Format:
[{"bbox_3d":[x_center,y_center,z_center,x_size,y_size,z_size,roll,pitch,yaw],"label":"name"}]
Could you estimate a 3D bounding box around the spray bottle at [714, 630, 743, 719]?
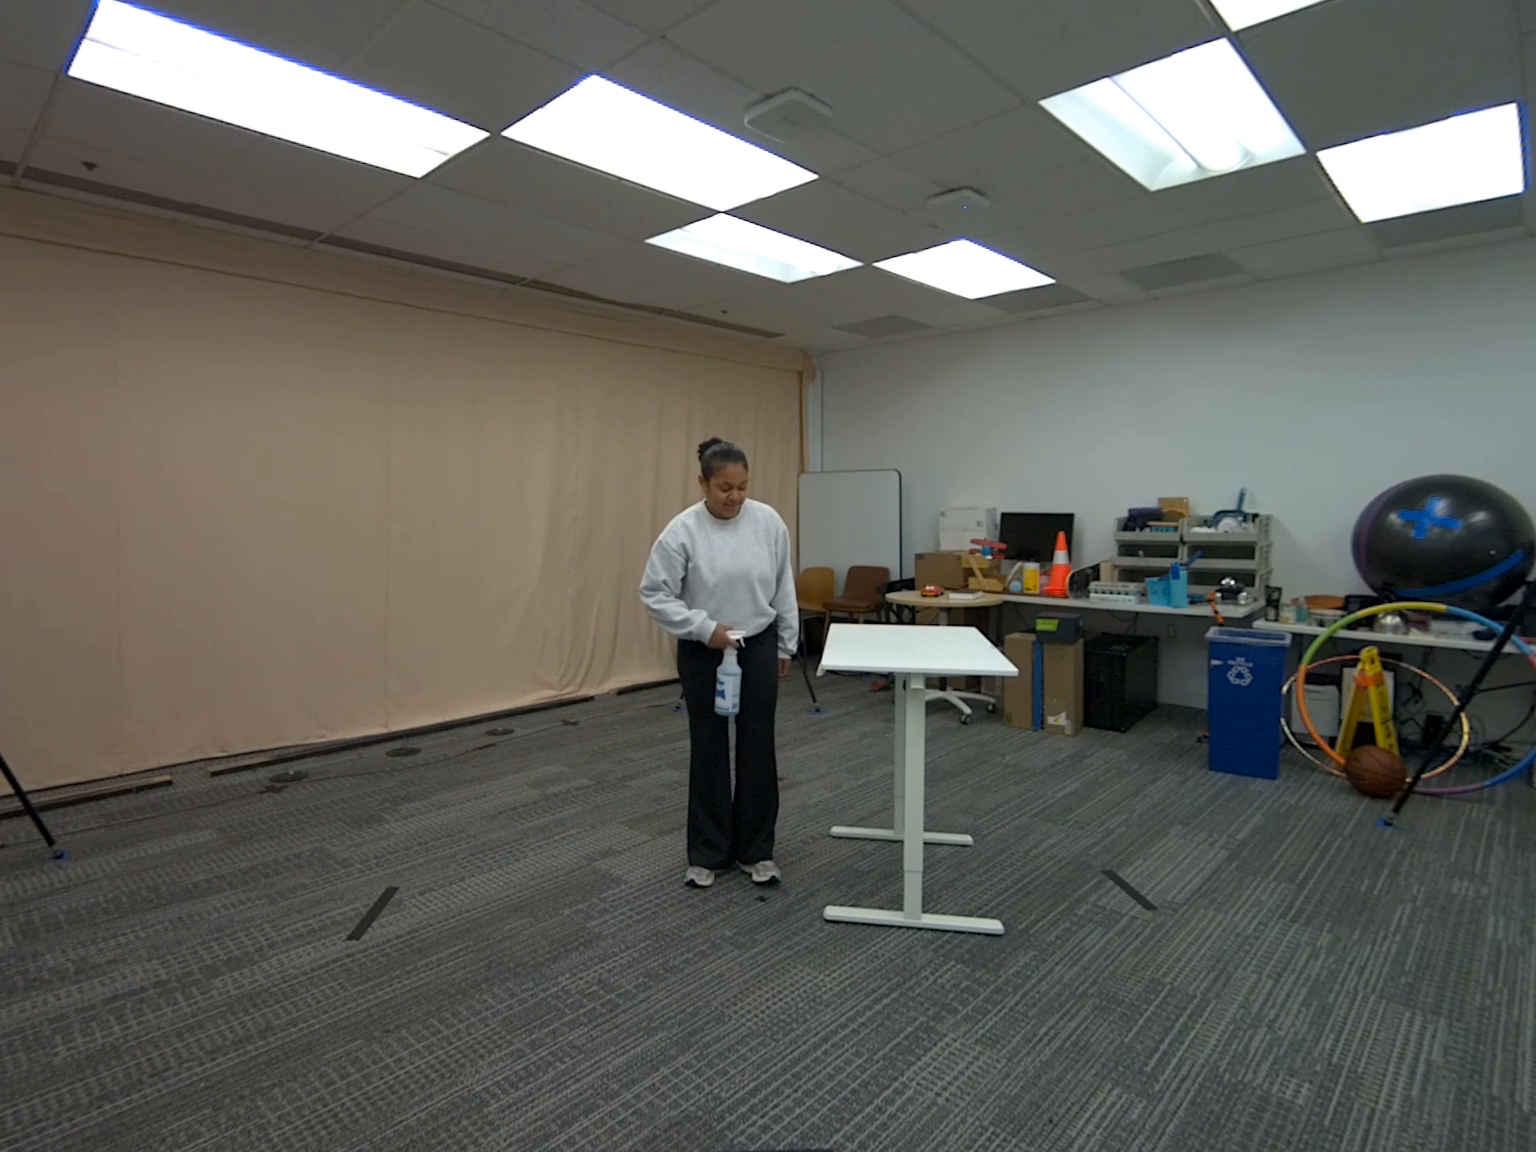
[{"bbox_3d":[-0.131,0.346,2.970,0.092,0.296,0.085,8,8,19],"label":"spray bottle"}]
